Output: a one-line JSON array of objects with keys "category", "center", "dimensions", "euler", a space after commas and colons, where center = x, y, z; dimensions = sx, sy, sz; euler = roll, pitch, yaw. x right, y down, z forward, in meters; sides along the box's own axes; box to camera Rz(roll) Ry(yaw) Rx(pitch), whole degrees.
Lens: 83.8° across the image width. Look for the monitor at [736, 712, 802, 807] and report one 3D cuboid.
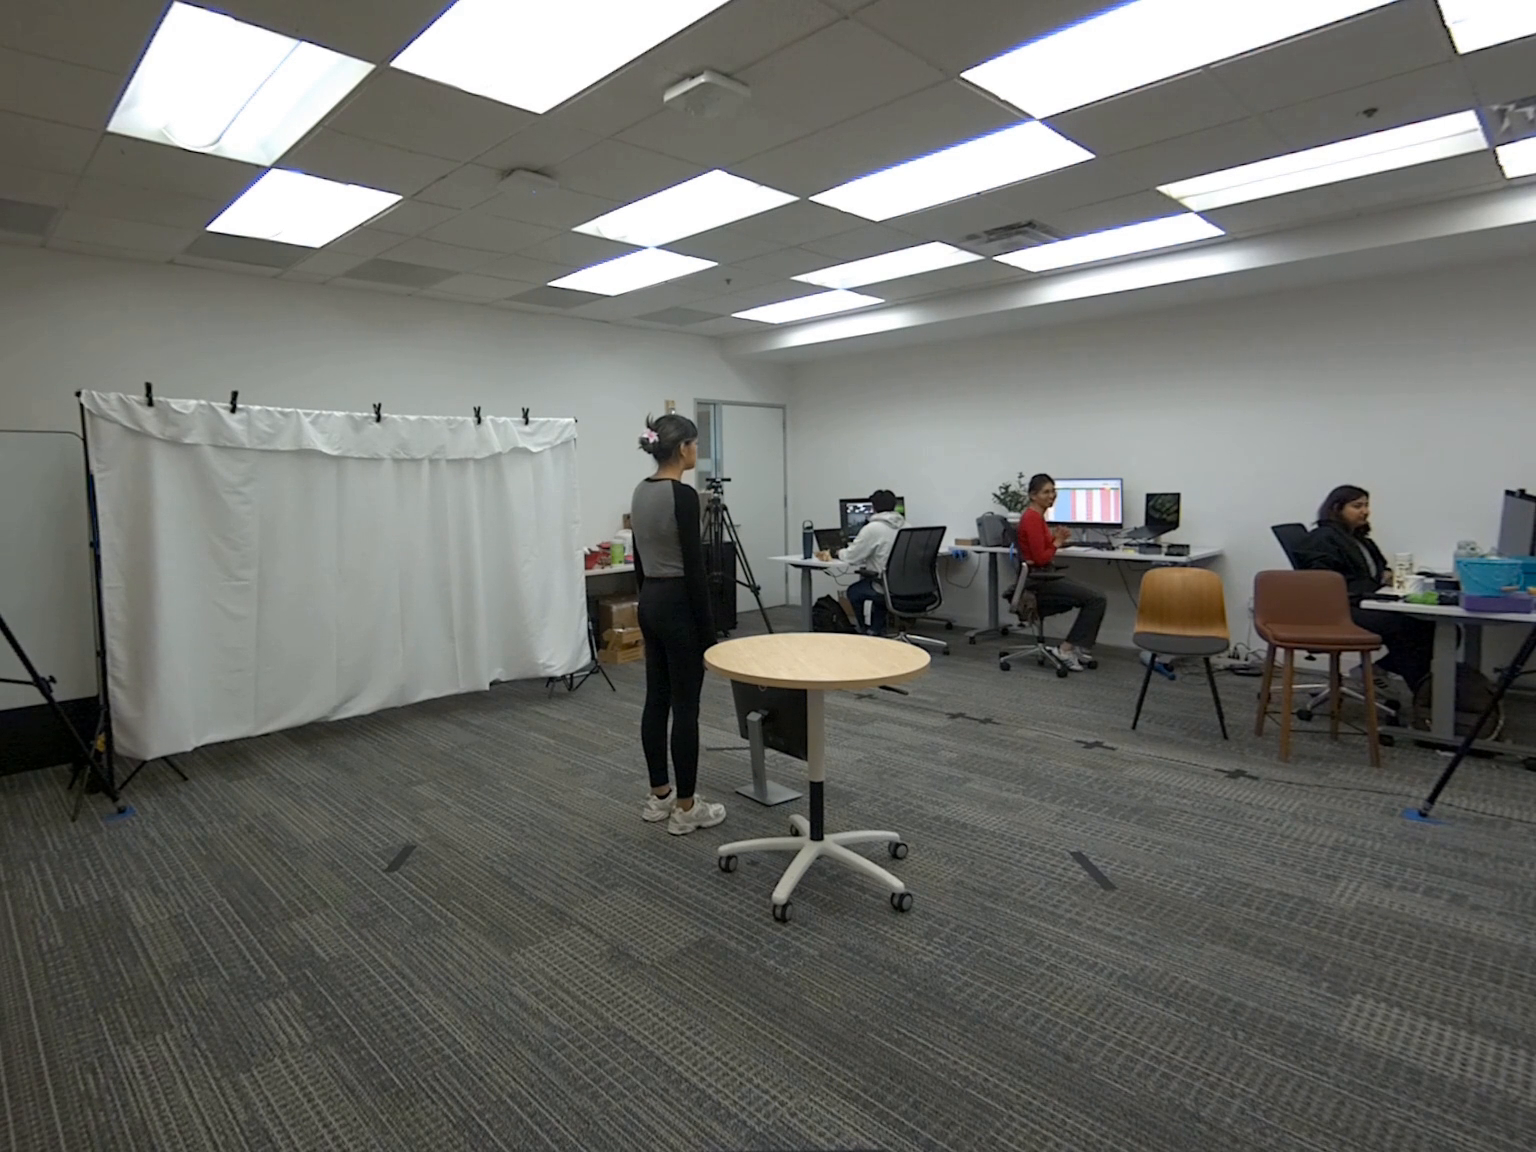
[{"category": "monitor", "center": [0.000, 0.704, 3.769], "dimensions": [0.182, 0.522, 0.555], "euler": [0, 3, -39]}]
